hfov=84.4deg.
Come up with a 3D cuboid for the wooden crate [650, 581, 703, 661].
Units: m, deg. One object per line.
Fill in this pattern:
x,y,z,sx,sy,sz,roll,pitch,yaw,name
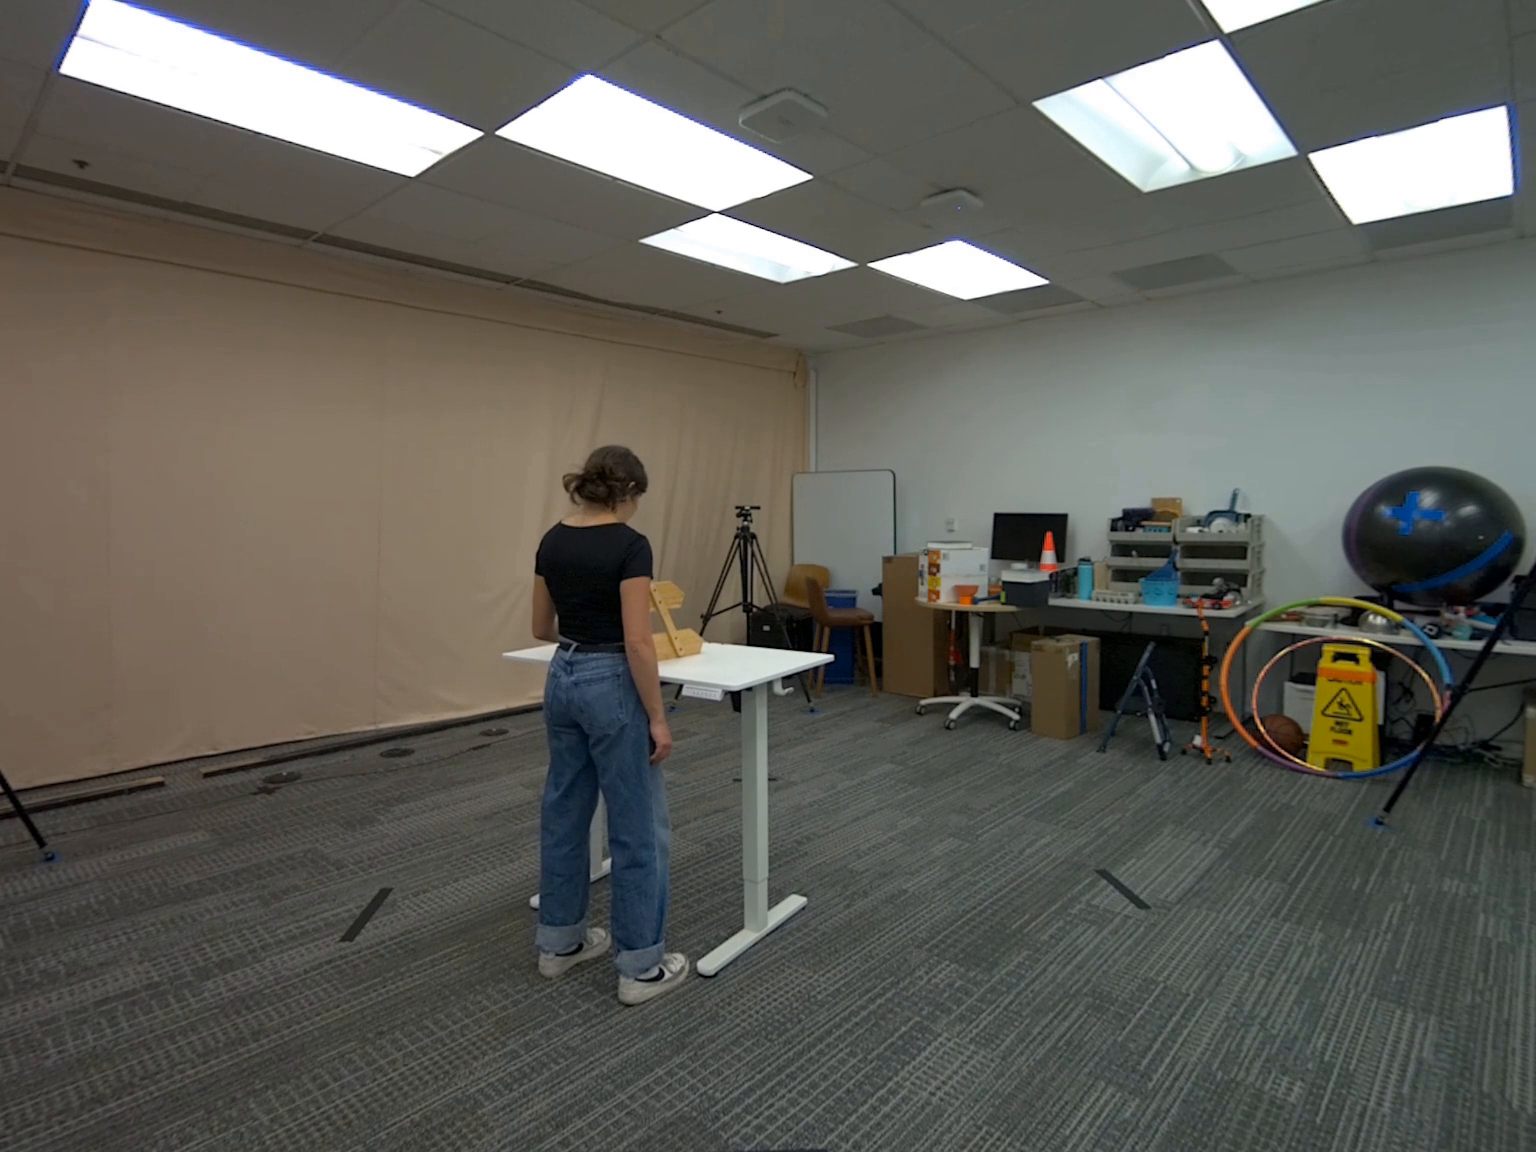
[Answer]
-0.434,0.139,2.917,0.335,0.272,0.293,2,6,41,wooden crate
